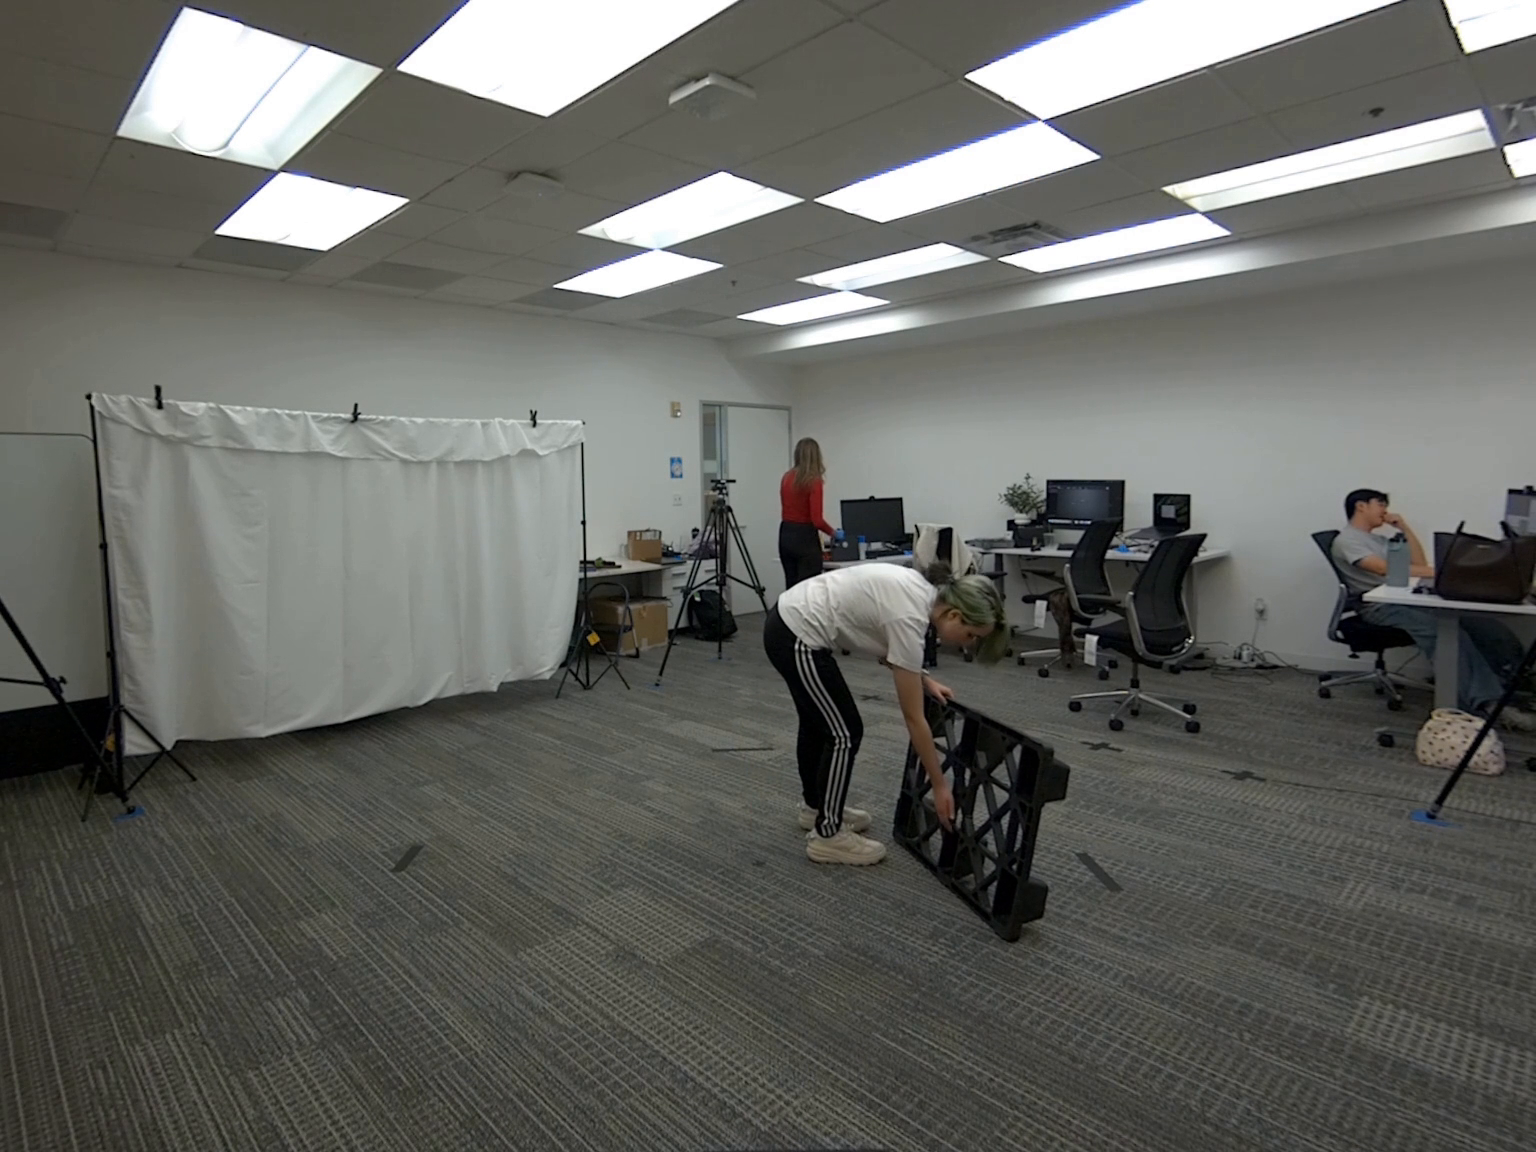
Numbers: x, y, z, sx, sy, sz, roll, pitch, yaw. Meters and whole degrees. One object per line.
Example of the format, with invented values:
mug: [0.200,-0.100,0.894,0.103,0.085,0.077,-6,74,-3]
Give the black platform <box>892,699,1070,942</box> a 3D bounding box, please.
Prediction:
black platform: [0.715,0.773,2.928,0.141,0.604,0.821,9,3,-18]
